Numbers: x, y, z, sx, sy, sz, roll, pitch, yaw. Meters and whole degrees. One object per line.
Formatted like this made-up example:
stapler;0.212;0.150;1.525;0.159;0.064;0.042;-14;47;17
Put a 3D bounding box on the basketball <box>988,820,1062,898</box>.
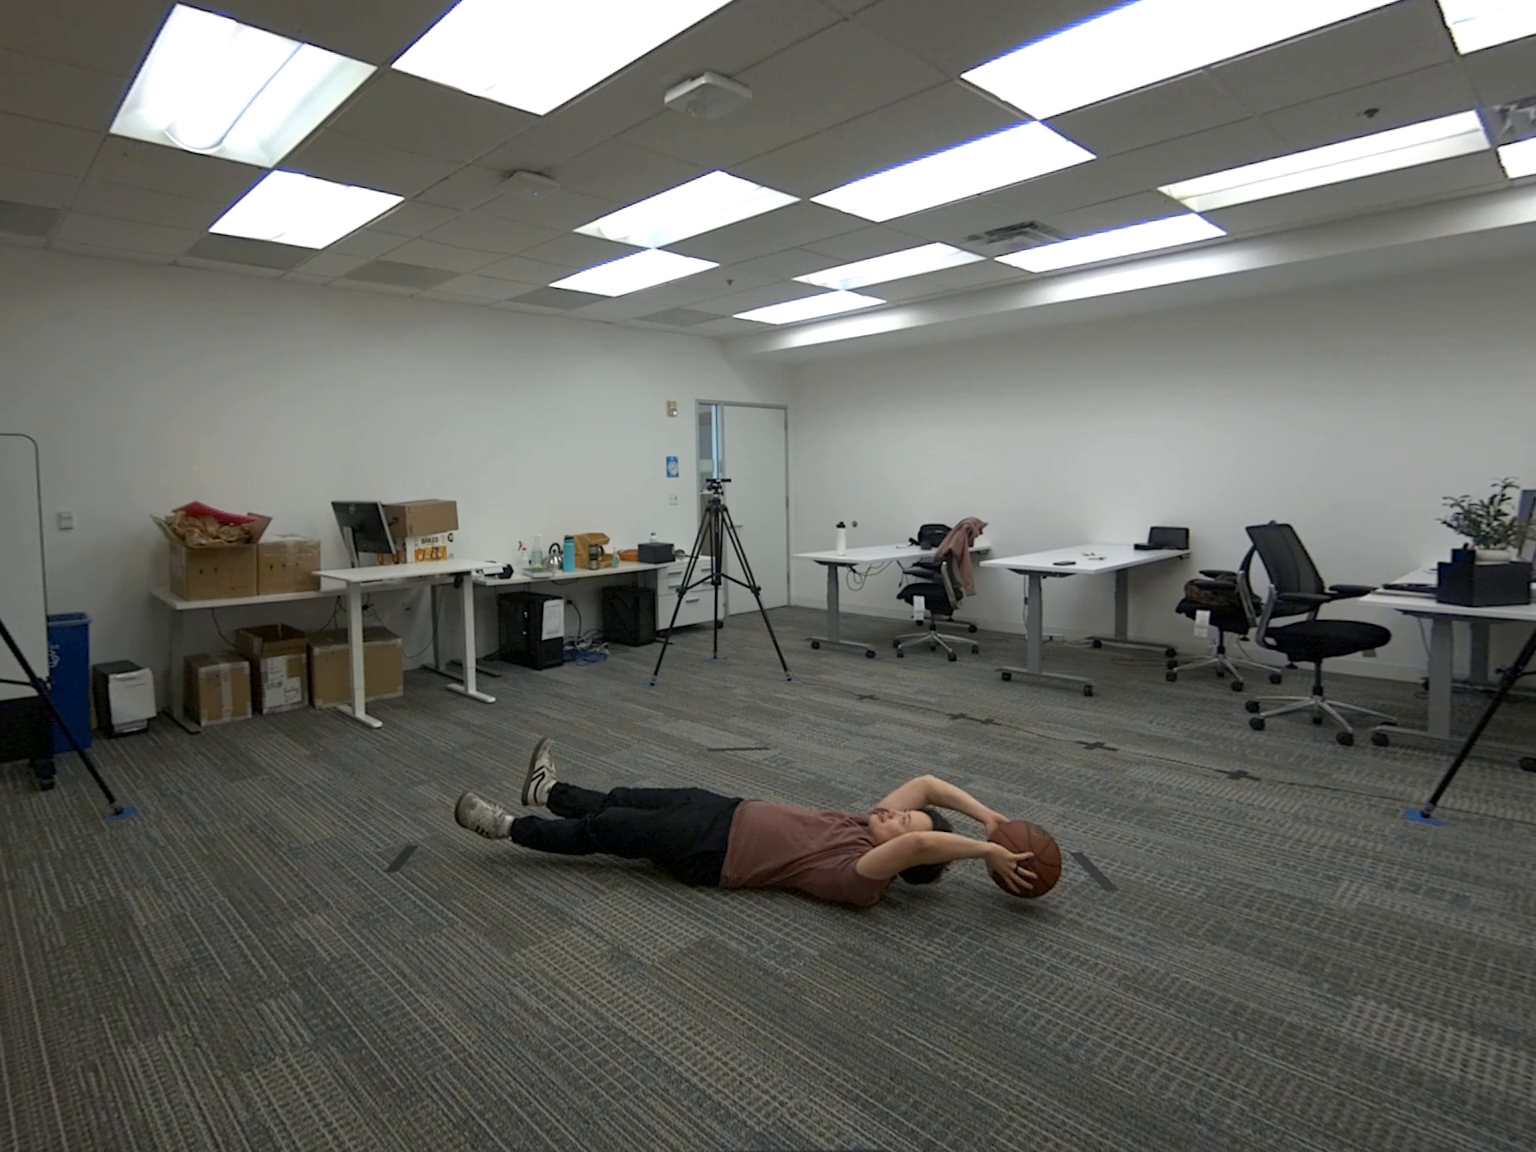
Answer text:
basketball;0.830;0.908;2.757;0.236;0.236;0.236;0;1;-2
